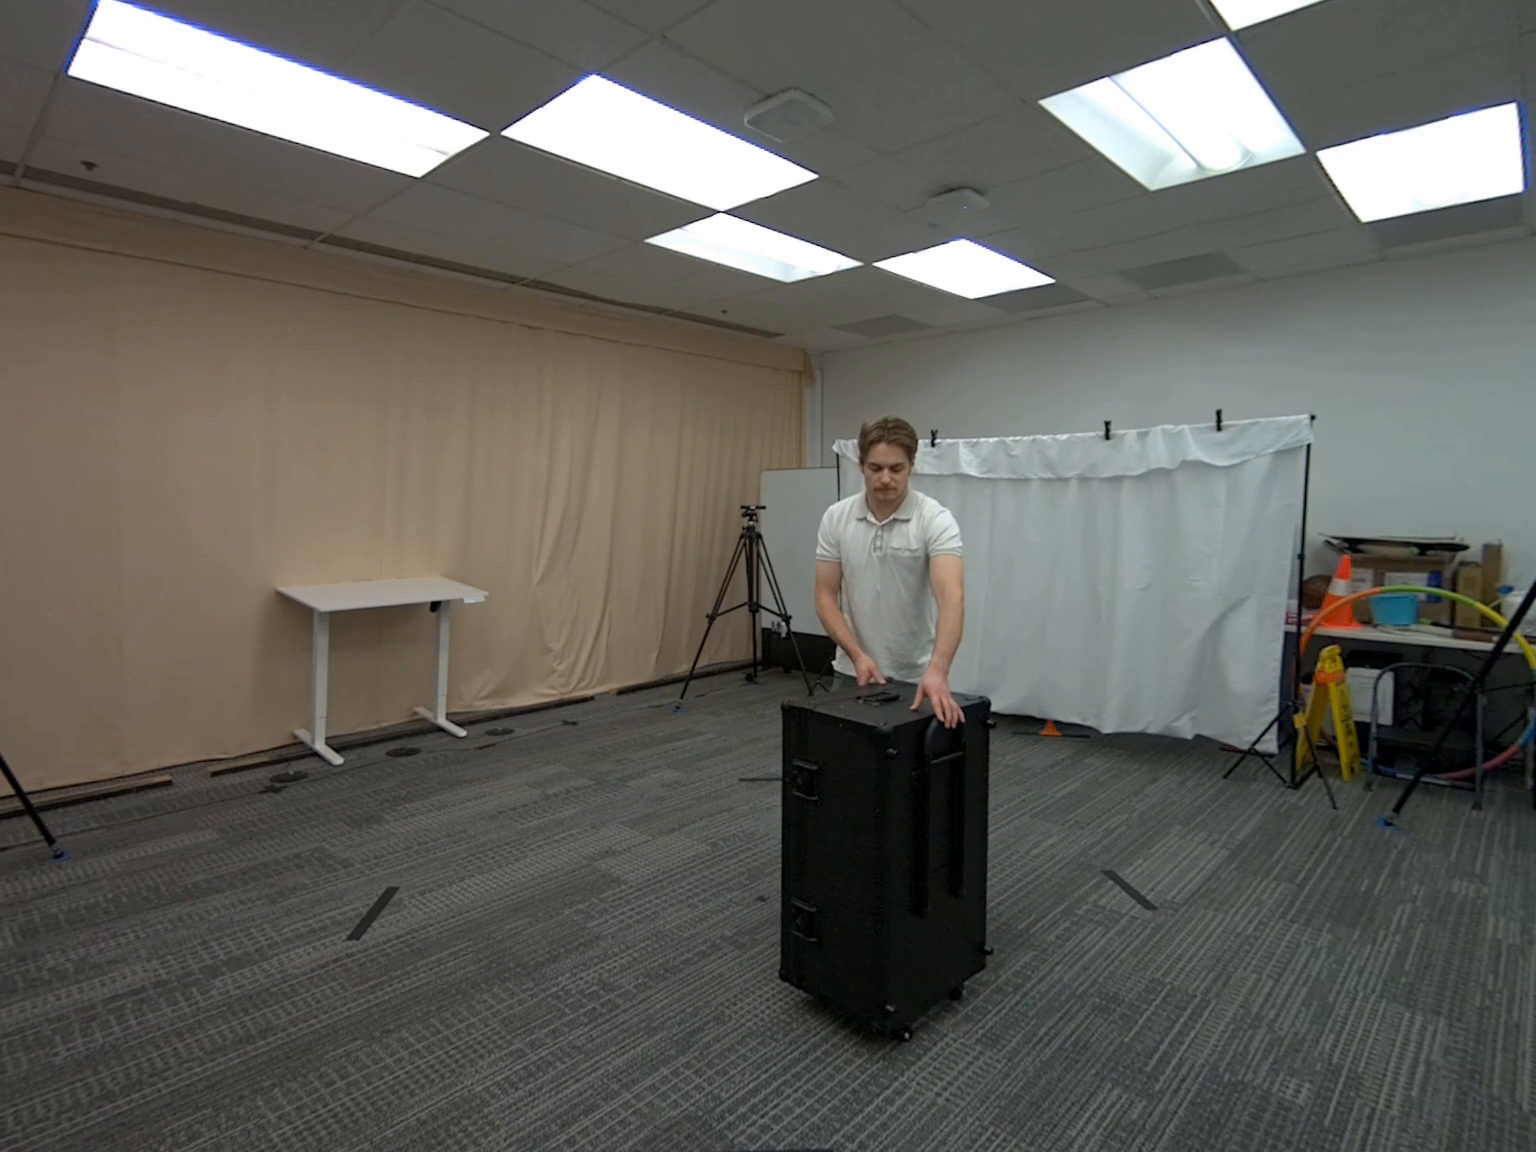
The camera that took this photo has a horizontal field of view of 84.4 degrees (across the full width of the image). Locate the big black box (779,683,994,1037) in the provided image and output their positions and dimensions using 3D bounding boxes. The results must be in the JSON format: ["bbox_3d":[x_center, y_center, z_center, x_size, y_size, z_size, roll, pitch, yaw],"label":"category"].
[{"bbox_3d":[0.342,0.776,2.364,0.507,0.866,0.398,-4,5,-45],"label":"big black box"}]
